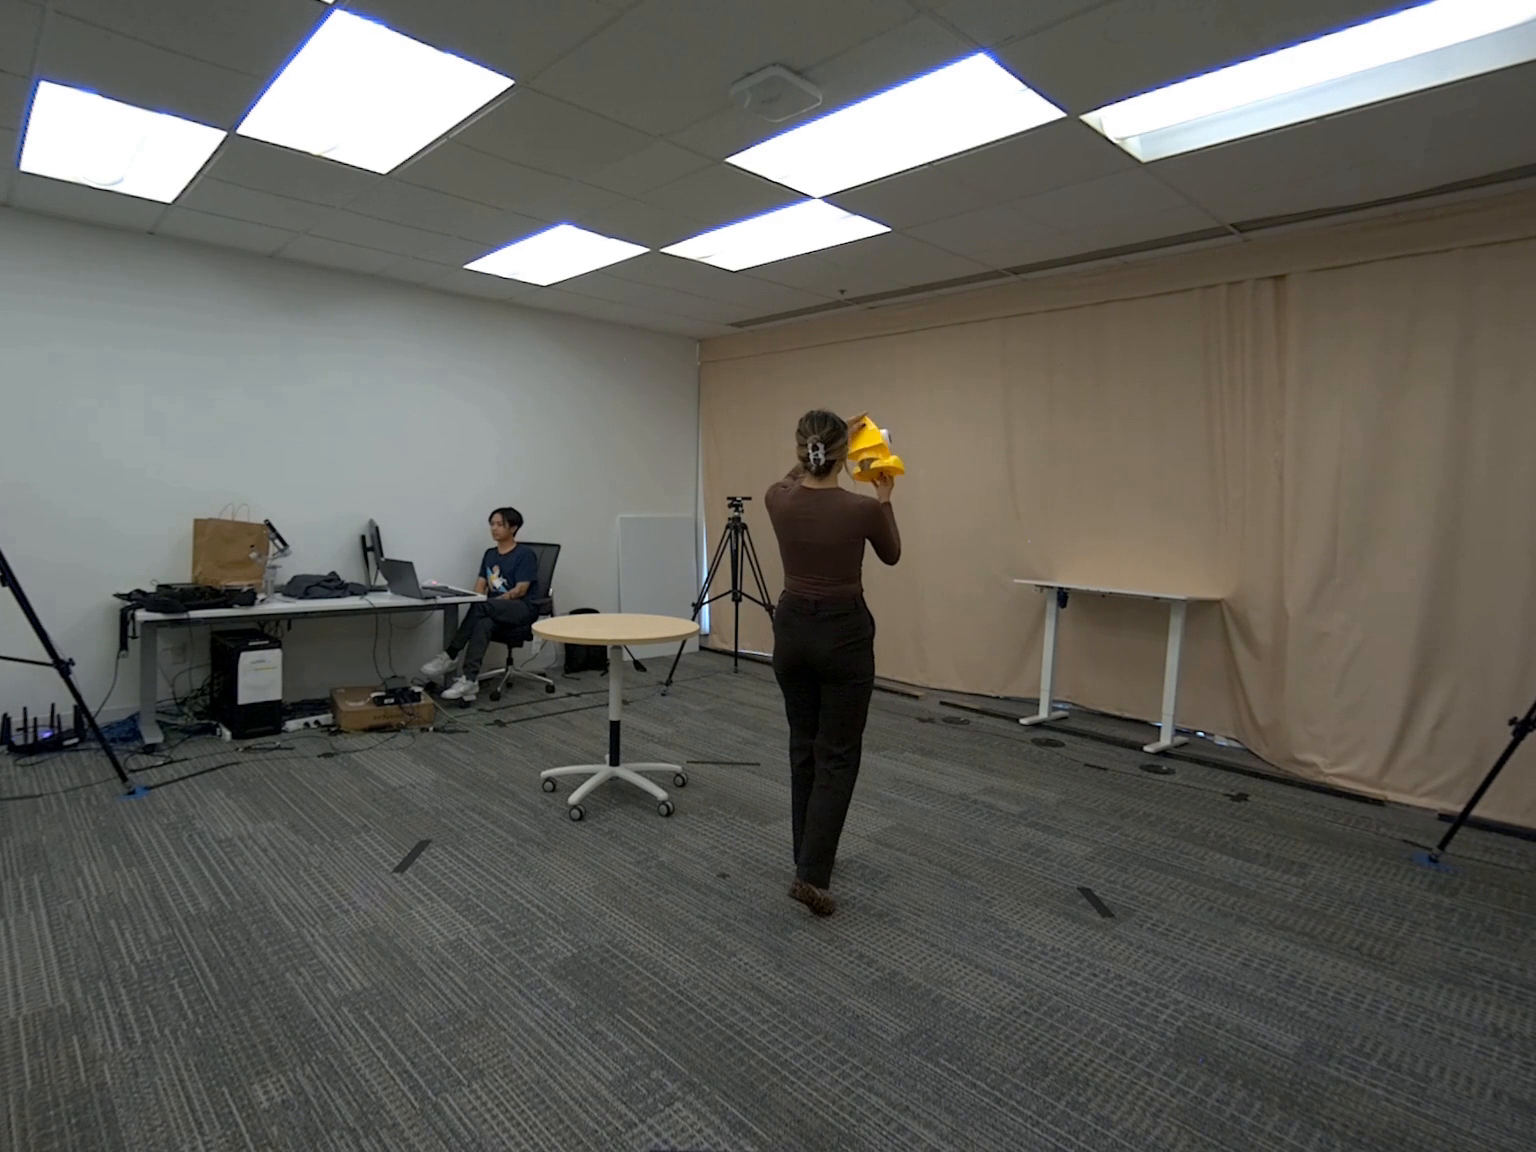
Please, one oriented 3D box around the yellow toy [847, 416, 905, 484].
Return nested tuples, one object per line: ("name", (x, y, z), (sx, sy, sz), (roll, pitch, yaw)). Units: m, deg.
("yellow toy", (0.408, -0.506, 3.288), (0.188, 0.233, 0.208), (10, -17, -43))
